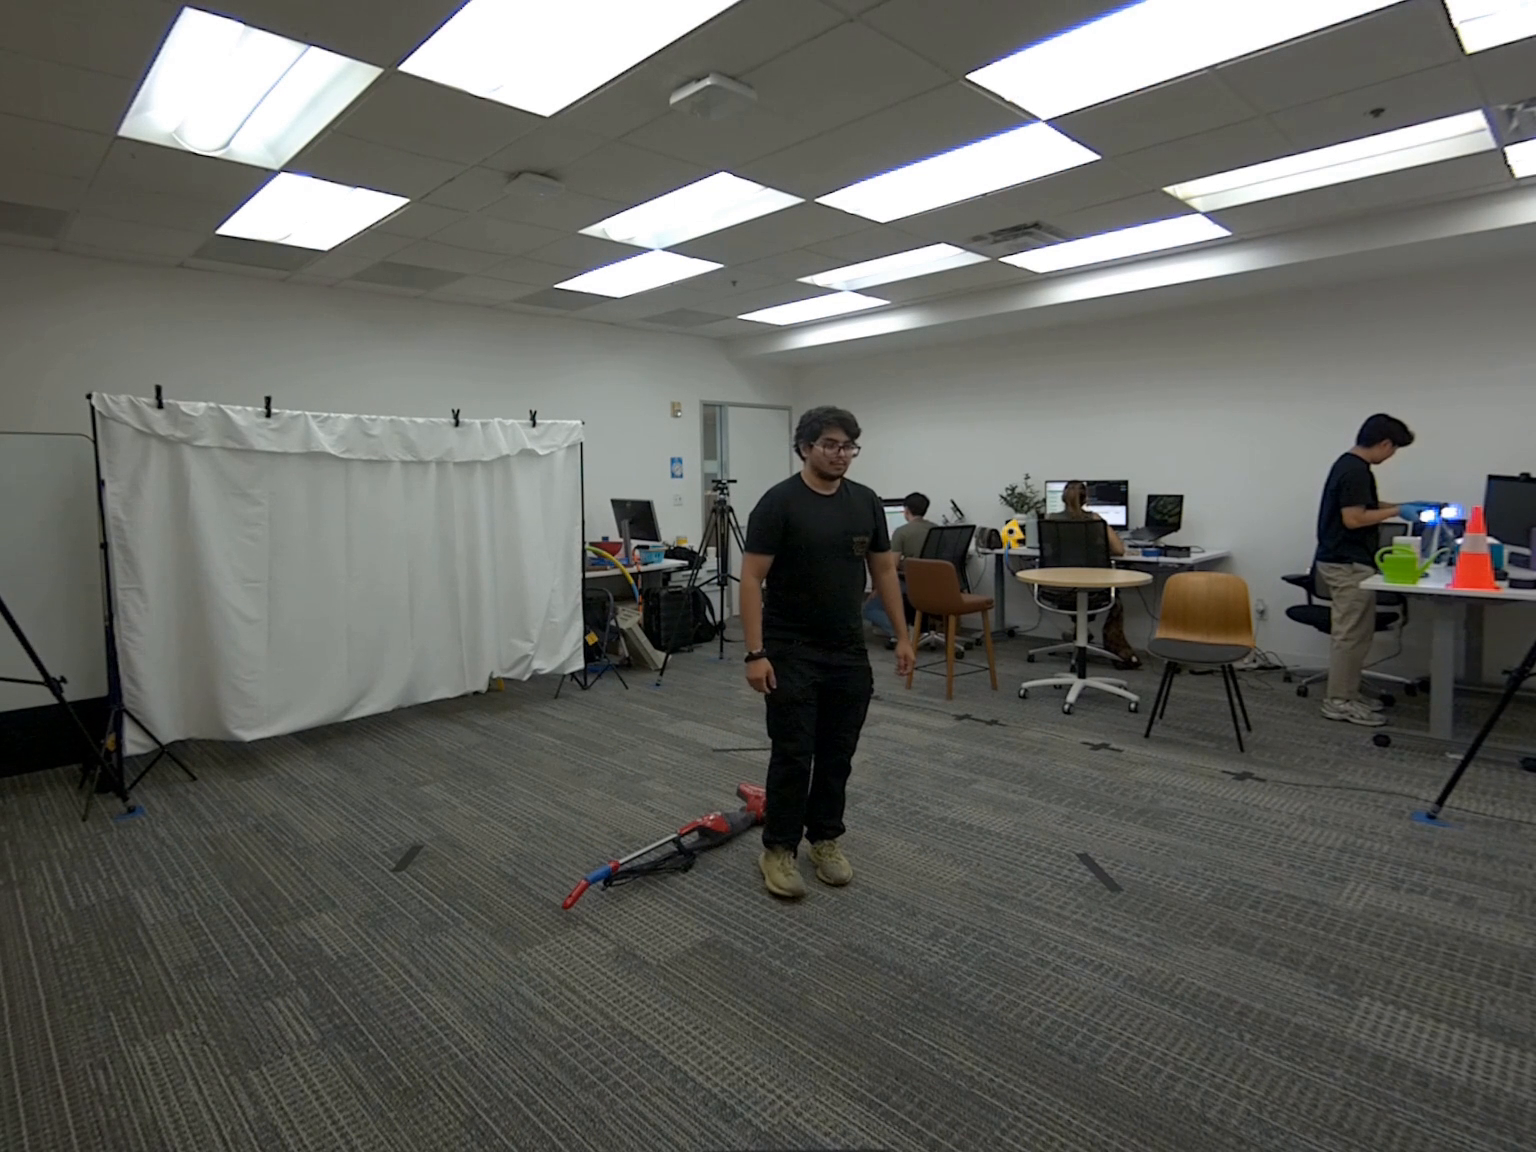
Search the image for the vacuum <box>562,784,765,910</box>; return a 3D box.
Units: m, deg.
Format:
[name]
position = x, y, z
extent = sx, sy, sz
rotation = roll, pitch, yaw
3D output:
[vacuum]
position = -0.334, 0.995, 3.107
extent = 0.260, 0.143, 1.024
rotation = 1, 7, 37
